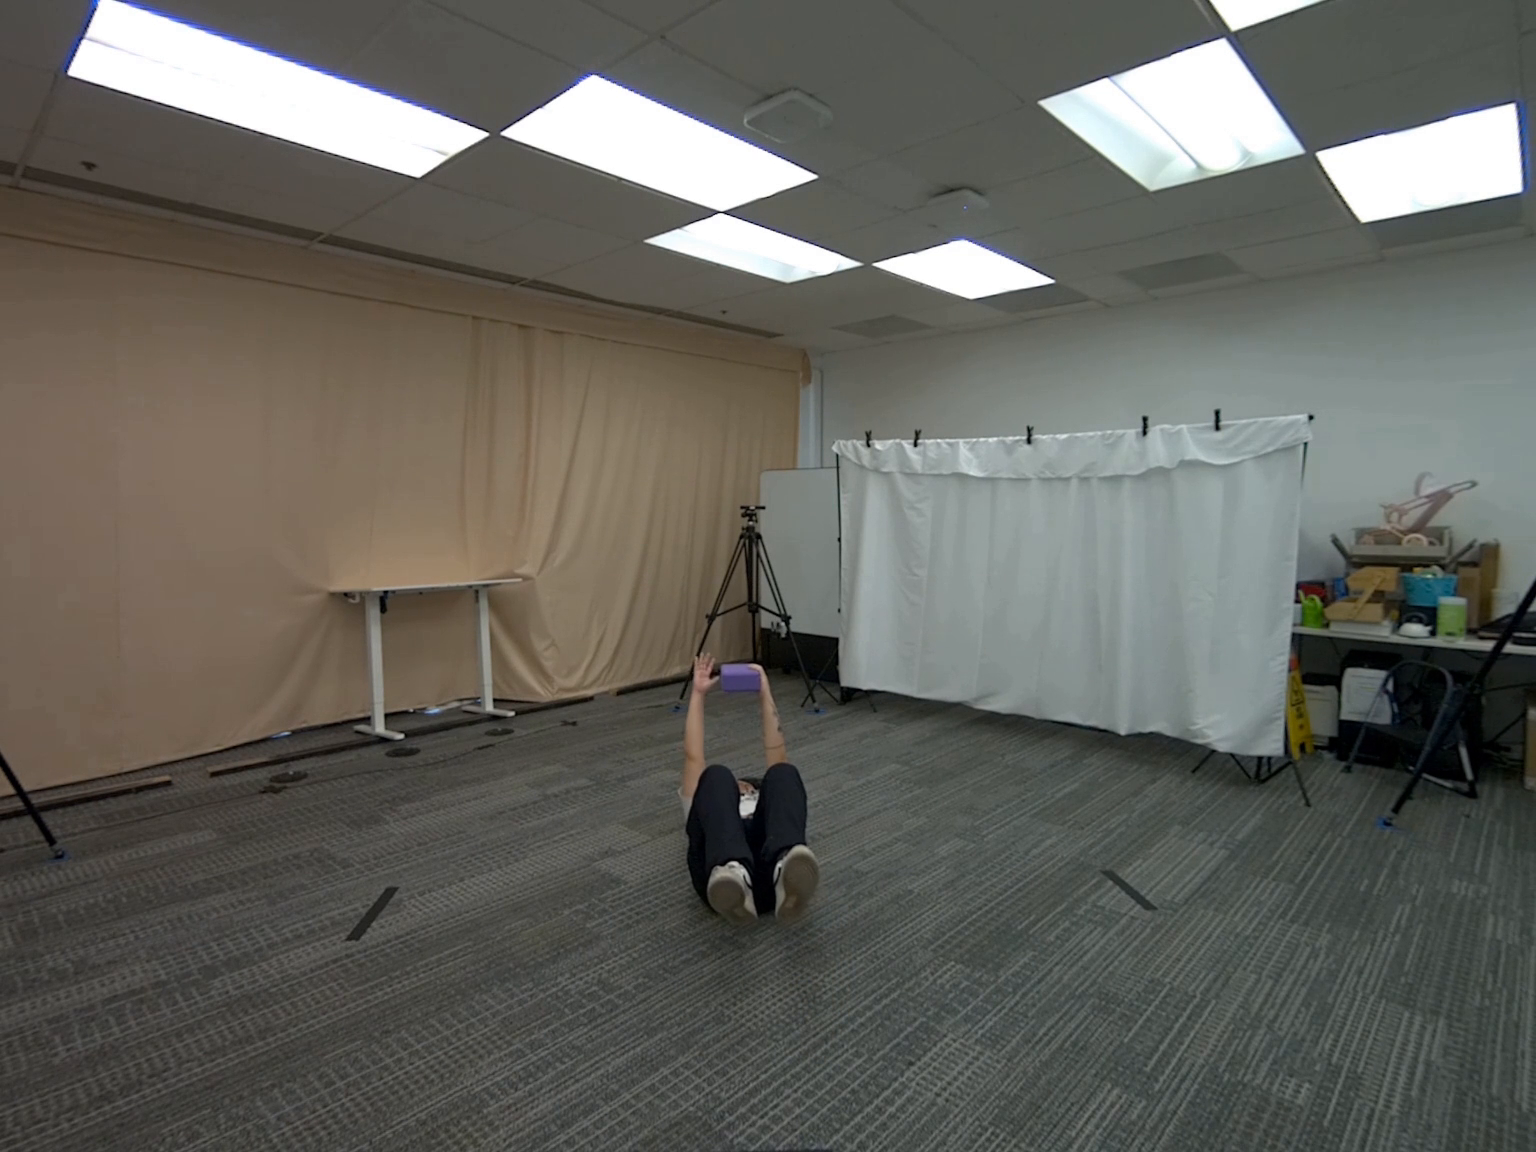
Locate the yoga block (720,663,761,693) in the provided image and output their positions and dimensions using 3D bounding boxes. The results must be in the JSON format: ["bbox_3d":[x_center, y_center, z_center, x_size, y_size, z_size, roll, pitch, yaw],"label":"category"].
[{"bbox_3d":[-0.109,0.418,3.437,0.149,0.076,0.230,-2,4,-3],"label":"yoga block"}]
